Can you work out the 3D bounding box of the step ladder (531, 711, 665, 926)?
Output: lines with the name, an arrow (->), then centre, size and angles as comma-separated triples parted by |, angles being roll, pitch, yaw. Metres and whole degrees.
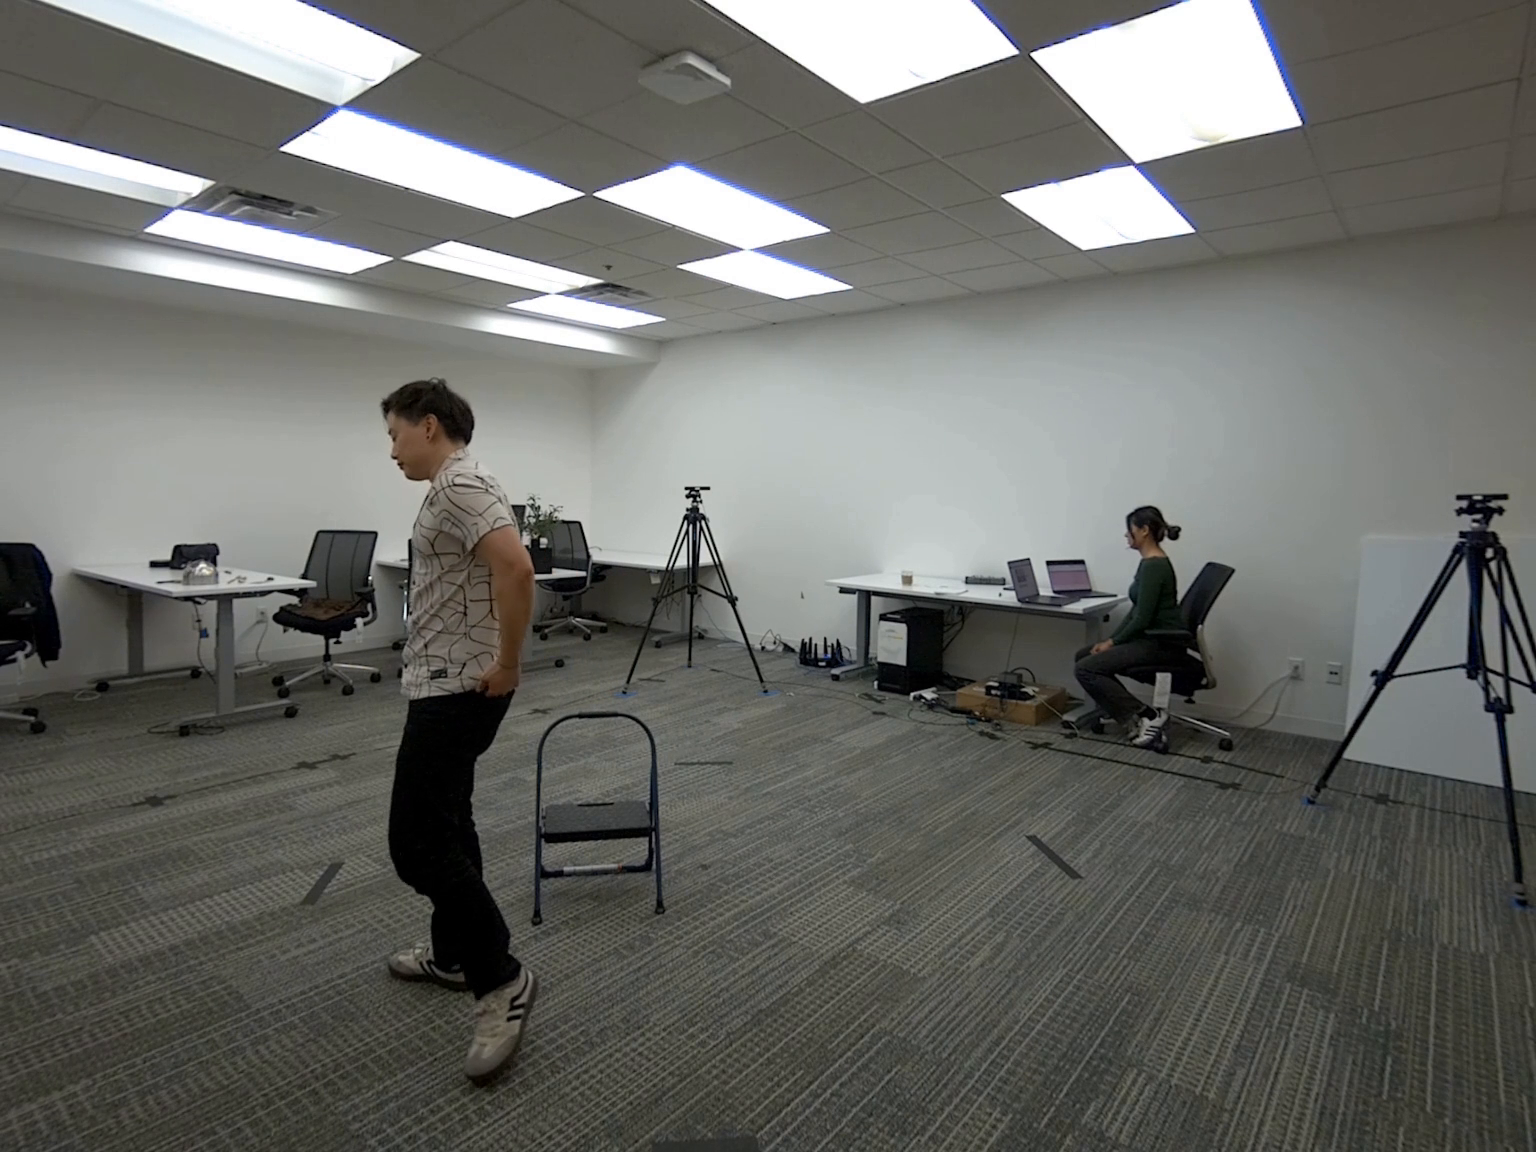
step ladder -> -0.586, 0.781, 2.888 | 0.425, 0.604, 0.355 | 0, 4, -13
